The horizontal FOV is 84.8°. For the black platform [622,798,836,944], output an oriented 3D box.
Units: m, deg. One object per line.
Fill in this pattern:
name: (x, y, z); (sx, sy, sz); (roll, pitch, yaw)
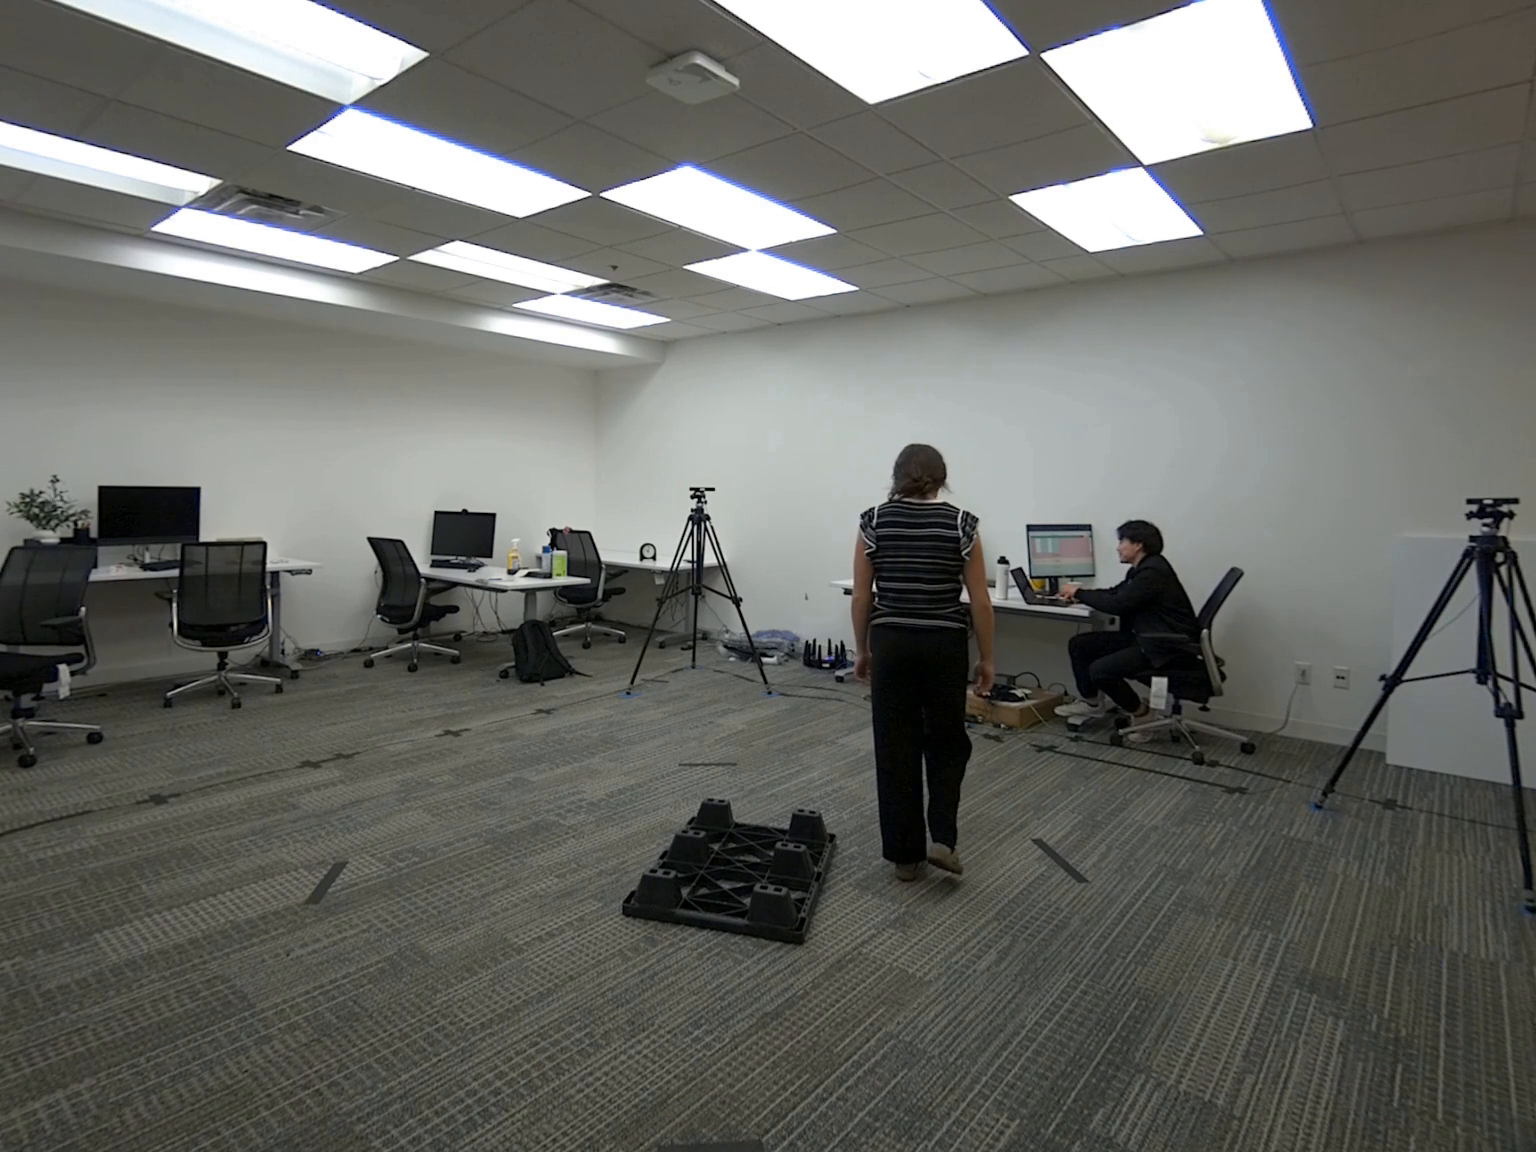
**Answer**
black platform: (-0.112, 1.005, 3.056); (0.615, 0.143, 0.796); (3, 6, 13)
